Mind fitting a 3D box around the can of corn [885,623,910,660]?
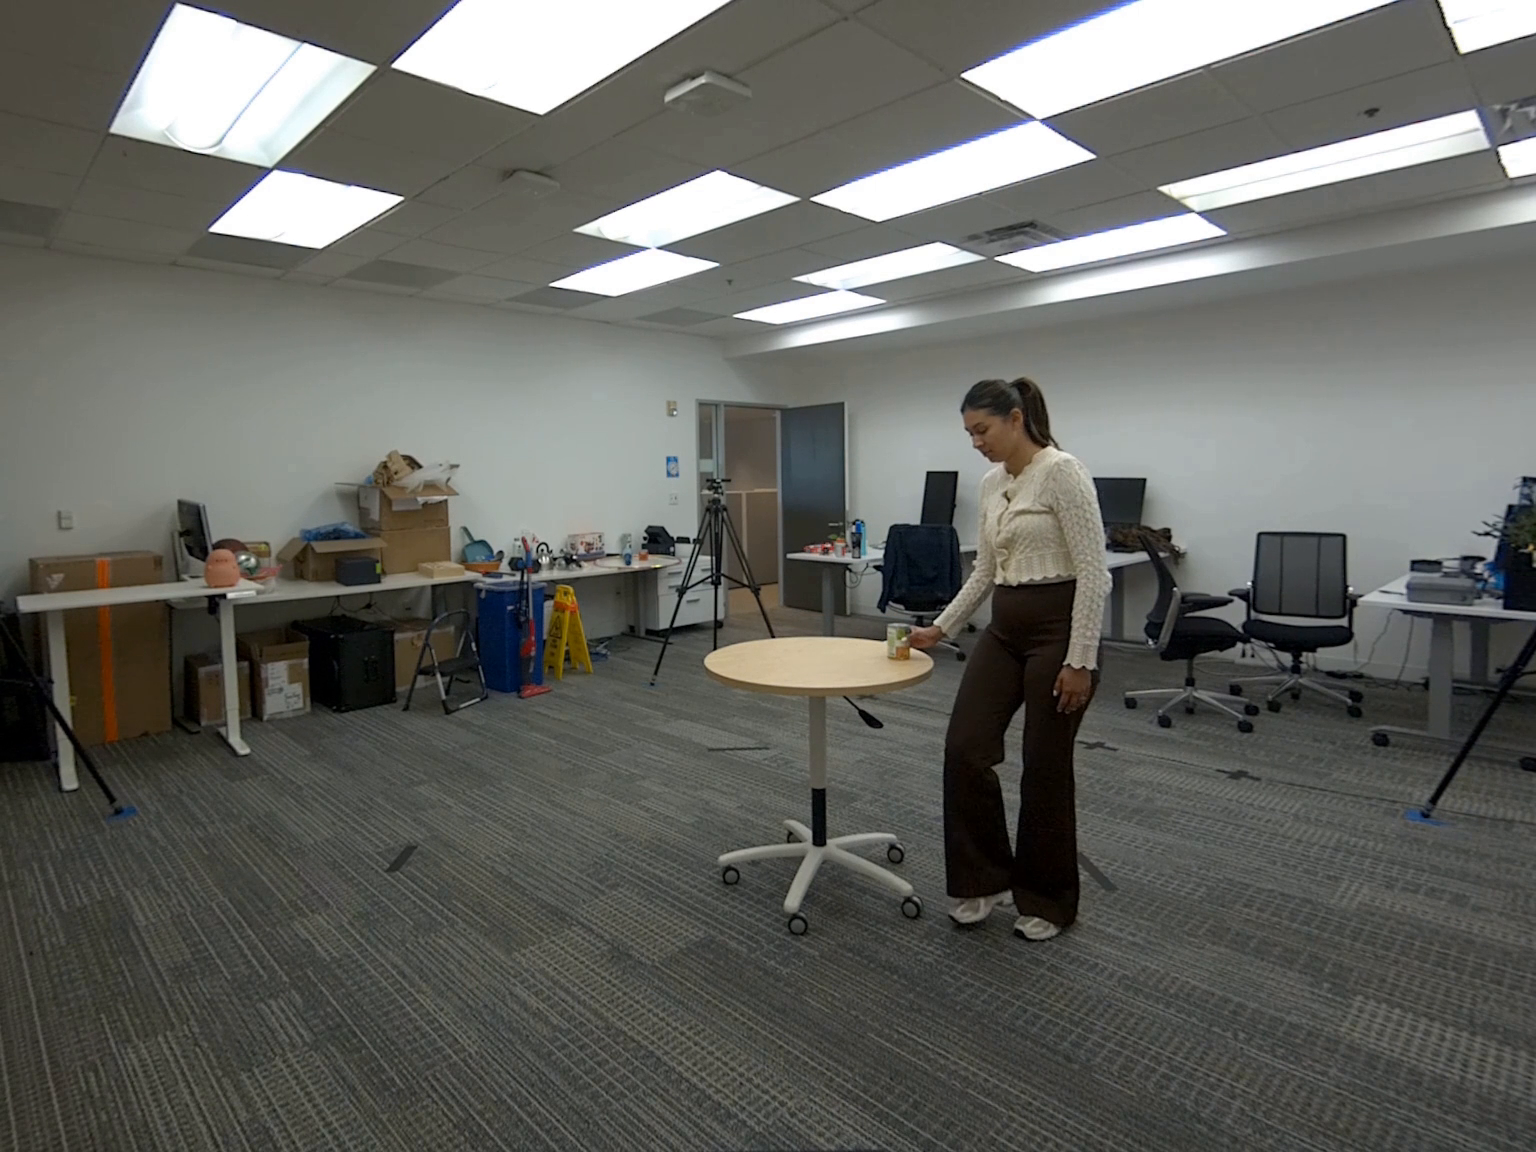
[{"bbox_3d":[0.448,0.218,2.889,0.074,0.110,0.074,-3,4,-1],"label":"can of corn"}]
